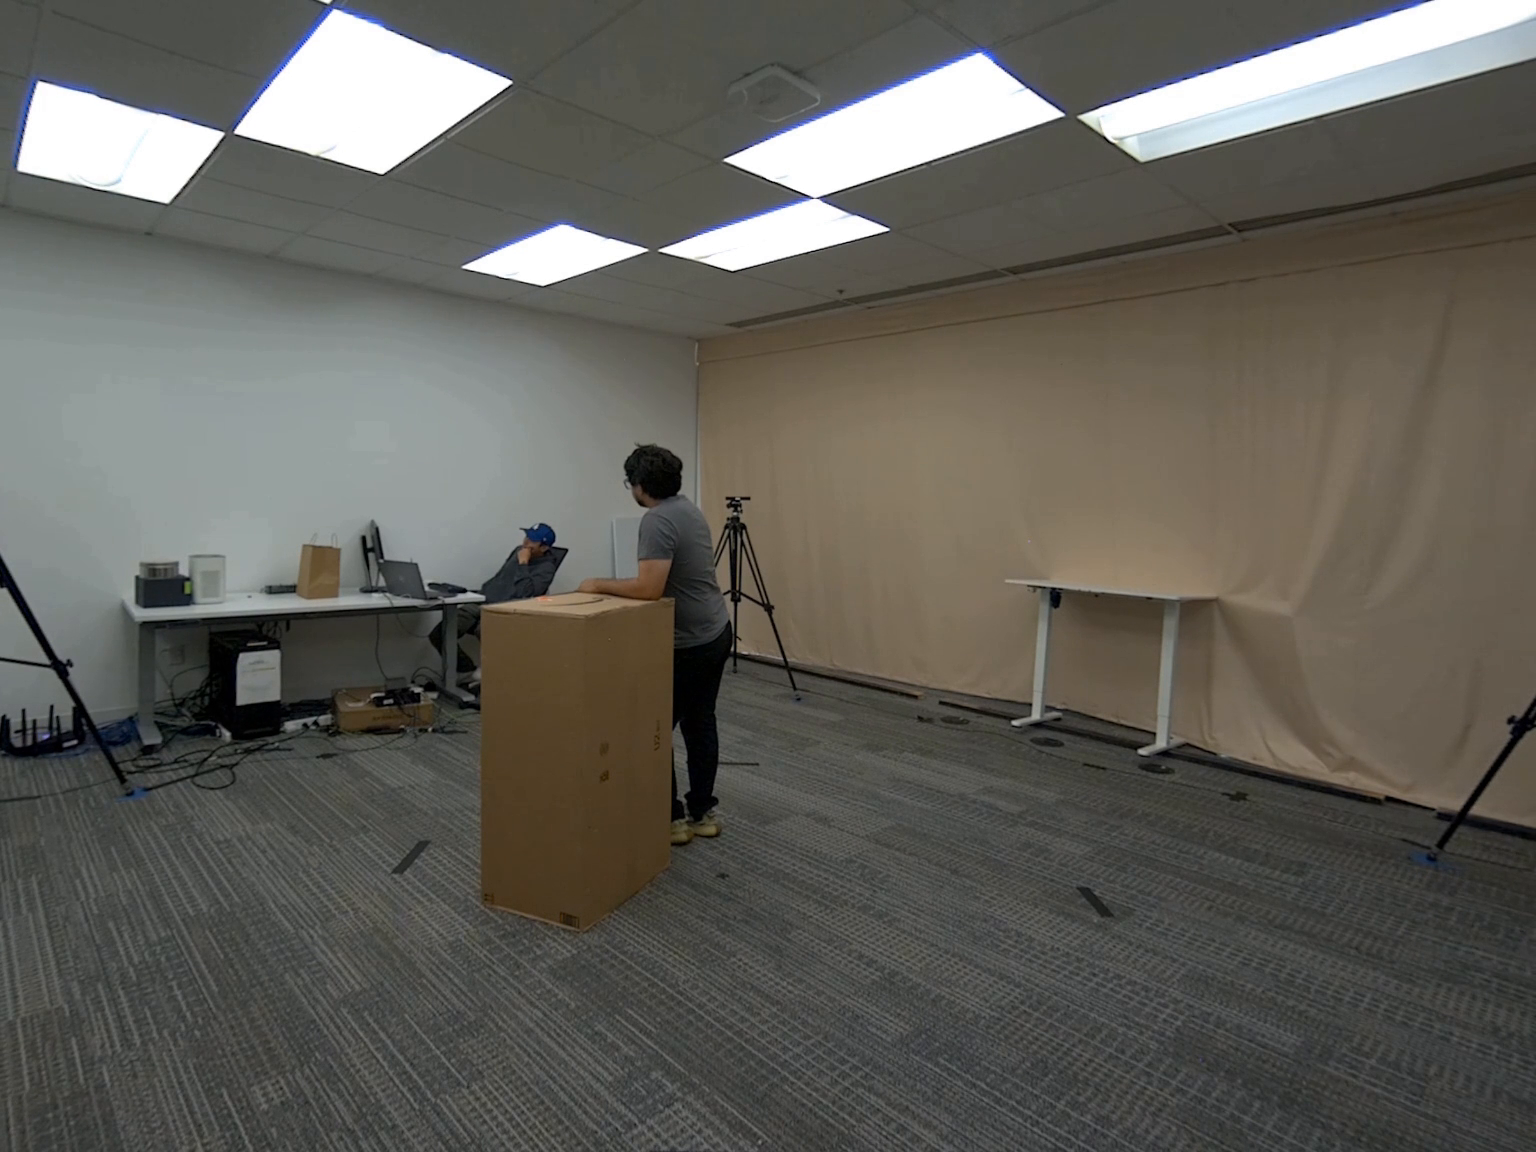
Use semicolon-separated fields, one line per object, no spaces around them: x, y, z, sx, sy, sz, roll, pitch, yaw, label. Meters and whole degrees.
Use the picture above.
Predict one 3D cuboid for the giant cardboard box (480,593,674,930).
-0.676;0.600;2.985;0.434;1.023;0.568;3;4;25;giant cardboard box
